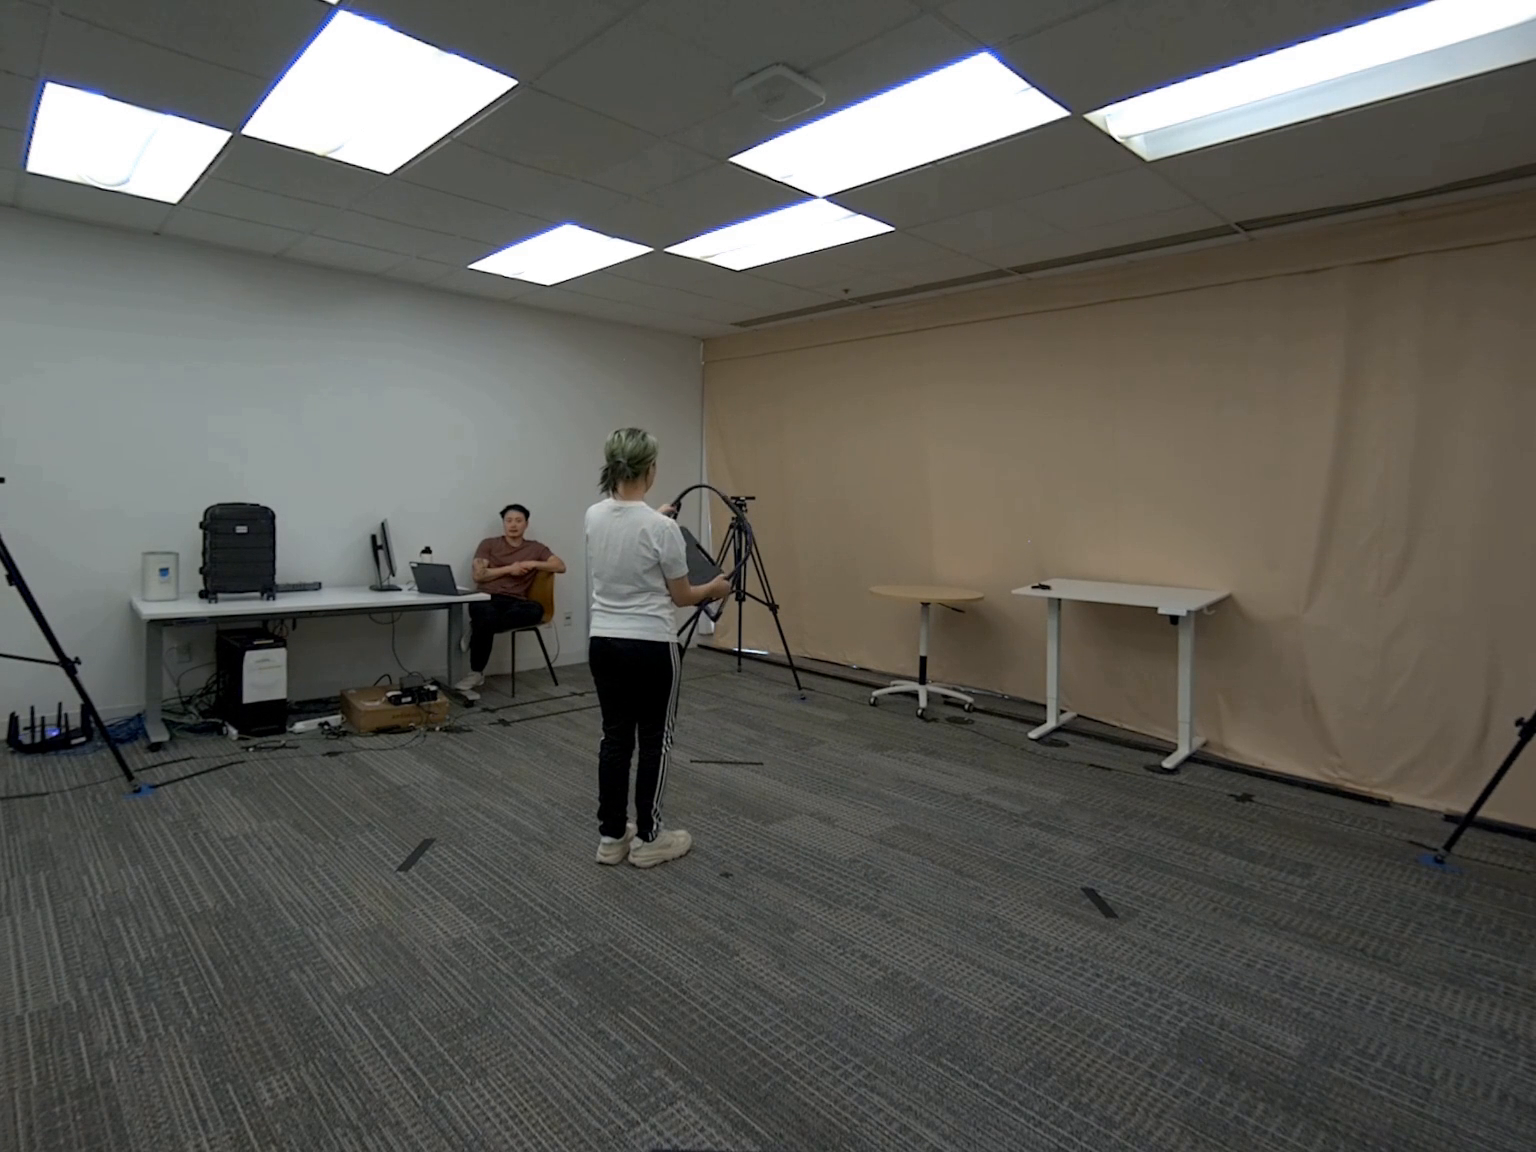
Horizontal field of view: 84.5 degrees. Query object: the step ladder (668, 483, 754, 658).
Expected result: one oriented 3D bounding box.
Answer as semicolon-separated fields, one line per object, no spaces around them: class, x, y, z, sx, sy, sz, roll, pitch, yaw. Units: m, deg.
step ladder;-0.331;-0.077;3.517;0.345;0.438;0.603;-26;-21;-47
